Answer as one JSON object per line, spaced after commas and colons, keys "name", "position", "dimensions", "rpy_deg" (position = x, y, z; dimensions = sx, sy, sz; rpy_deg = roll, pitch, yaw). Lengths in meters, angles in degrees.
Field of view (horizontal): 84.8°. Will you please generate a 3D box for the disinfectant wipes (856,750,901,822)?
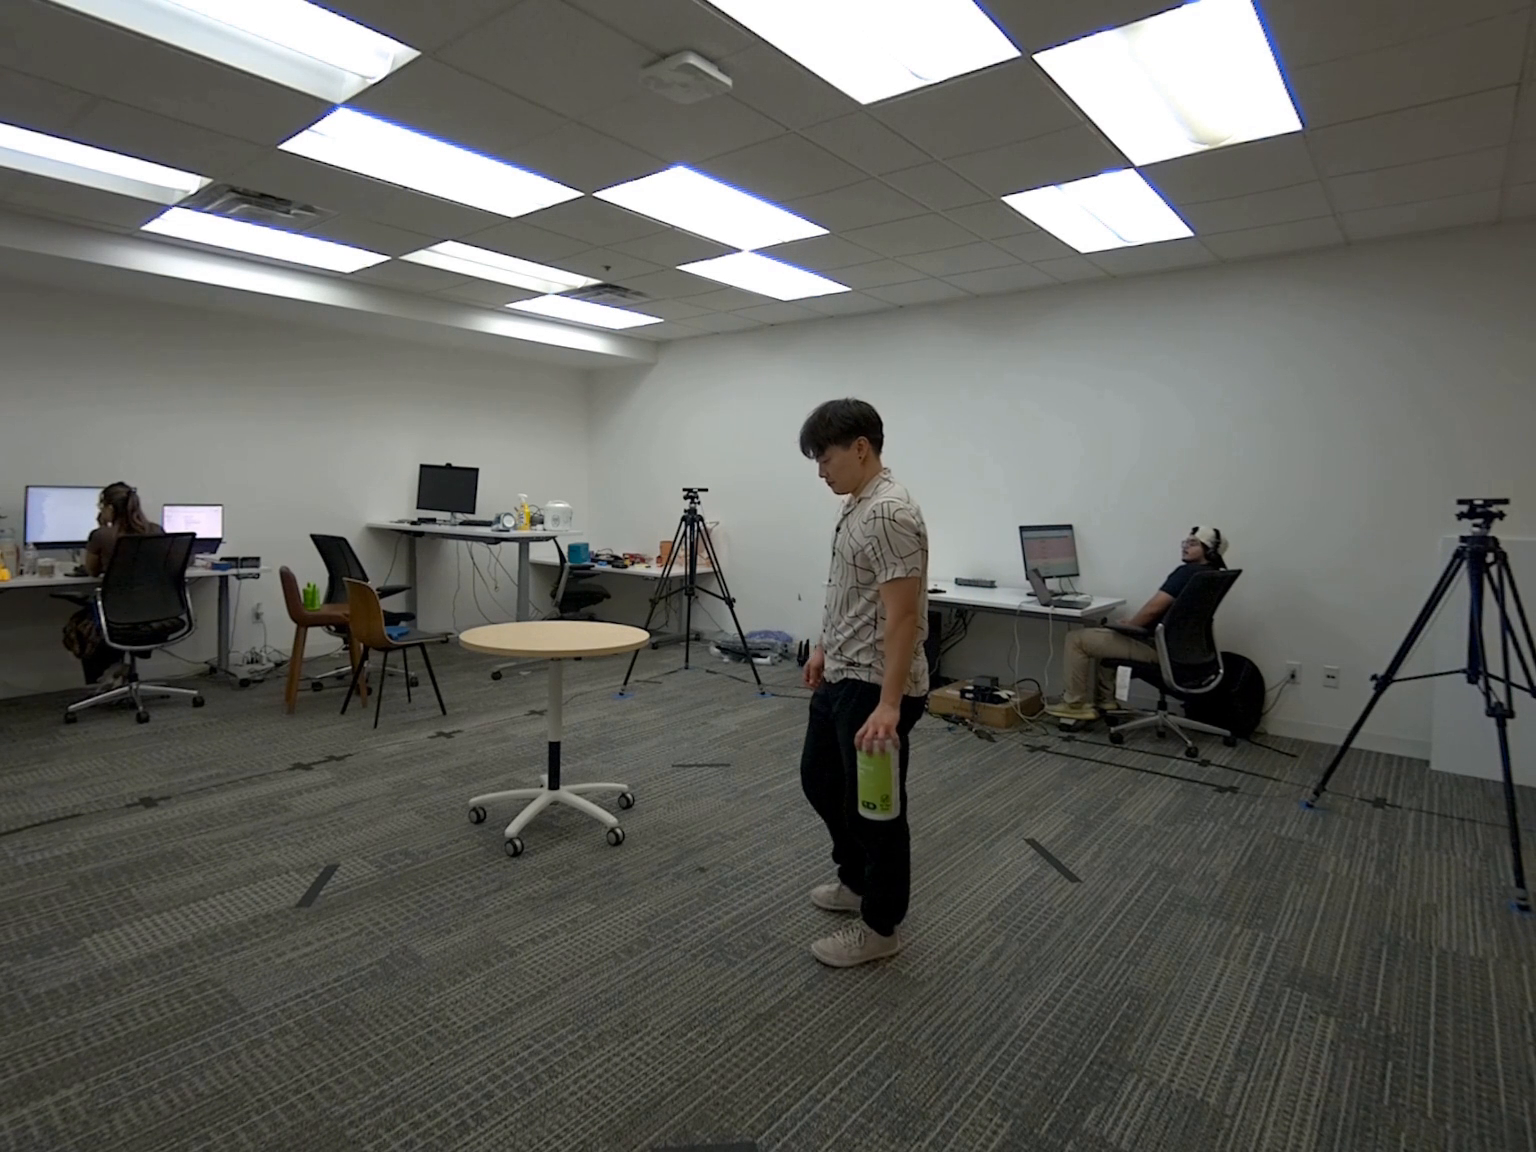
{"name": "disinfectant wipes", "position": [0.285, 0.517, 2.258], "dimensions": [0.118, 0.216, 0.118], "rpy_deg": [-2, 6, -2]}
